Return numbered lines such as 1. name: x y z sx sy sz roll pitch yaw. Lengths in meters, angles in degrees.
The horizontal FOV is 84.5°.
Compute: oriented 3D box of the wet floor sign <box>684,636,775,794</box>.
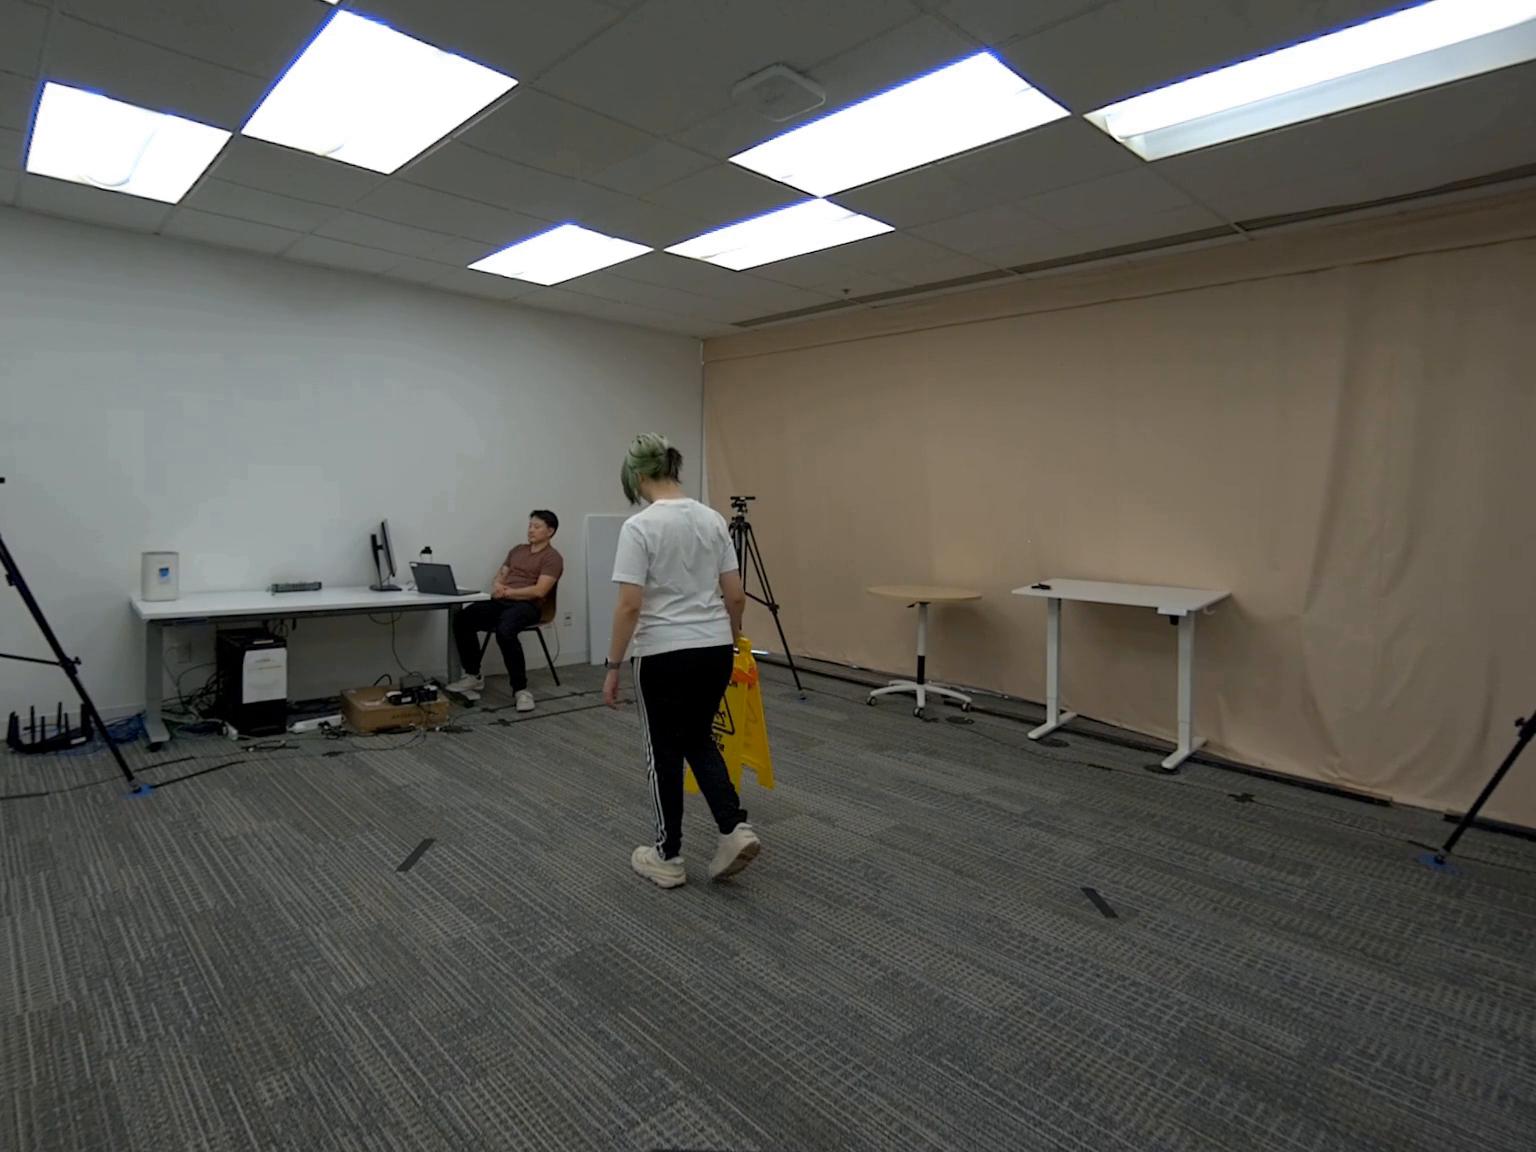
1. wet floor sign: -0.159 0.553 3.375 0.290 0.642 0.284 10 11 38
